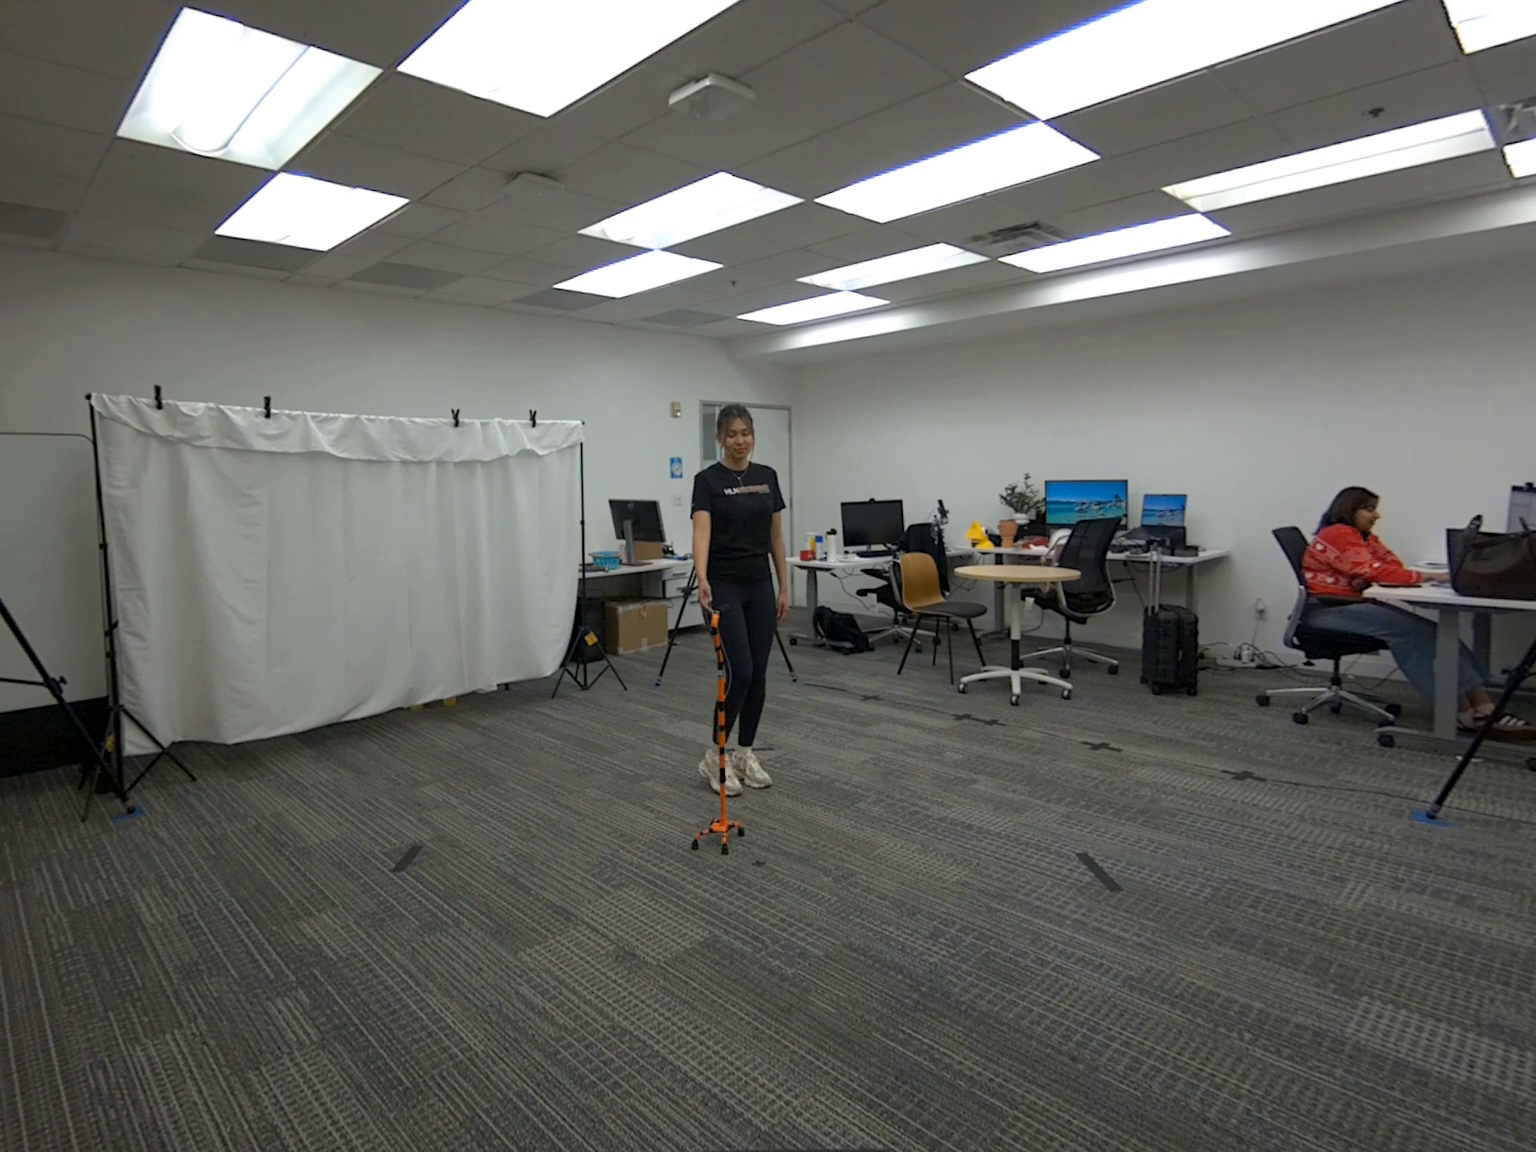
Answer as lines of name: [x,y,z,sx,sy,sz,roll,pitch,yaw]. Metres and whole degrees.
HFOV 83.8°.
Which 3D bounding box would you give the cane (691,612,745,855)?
cane: [-0.198,0.581,3.270,0.154,0.905,0.204,0,4,17]
